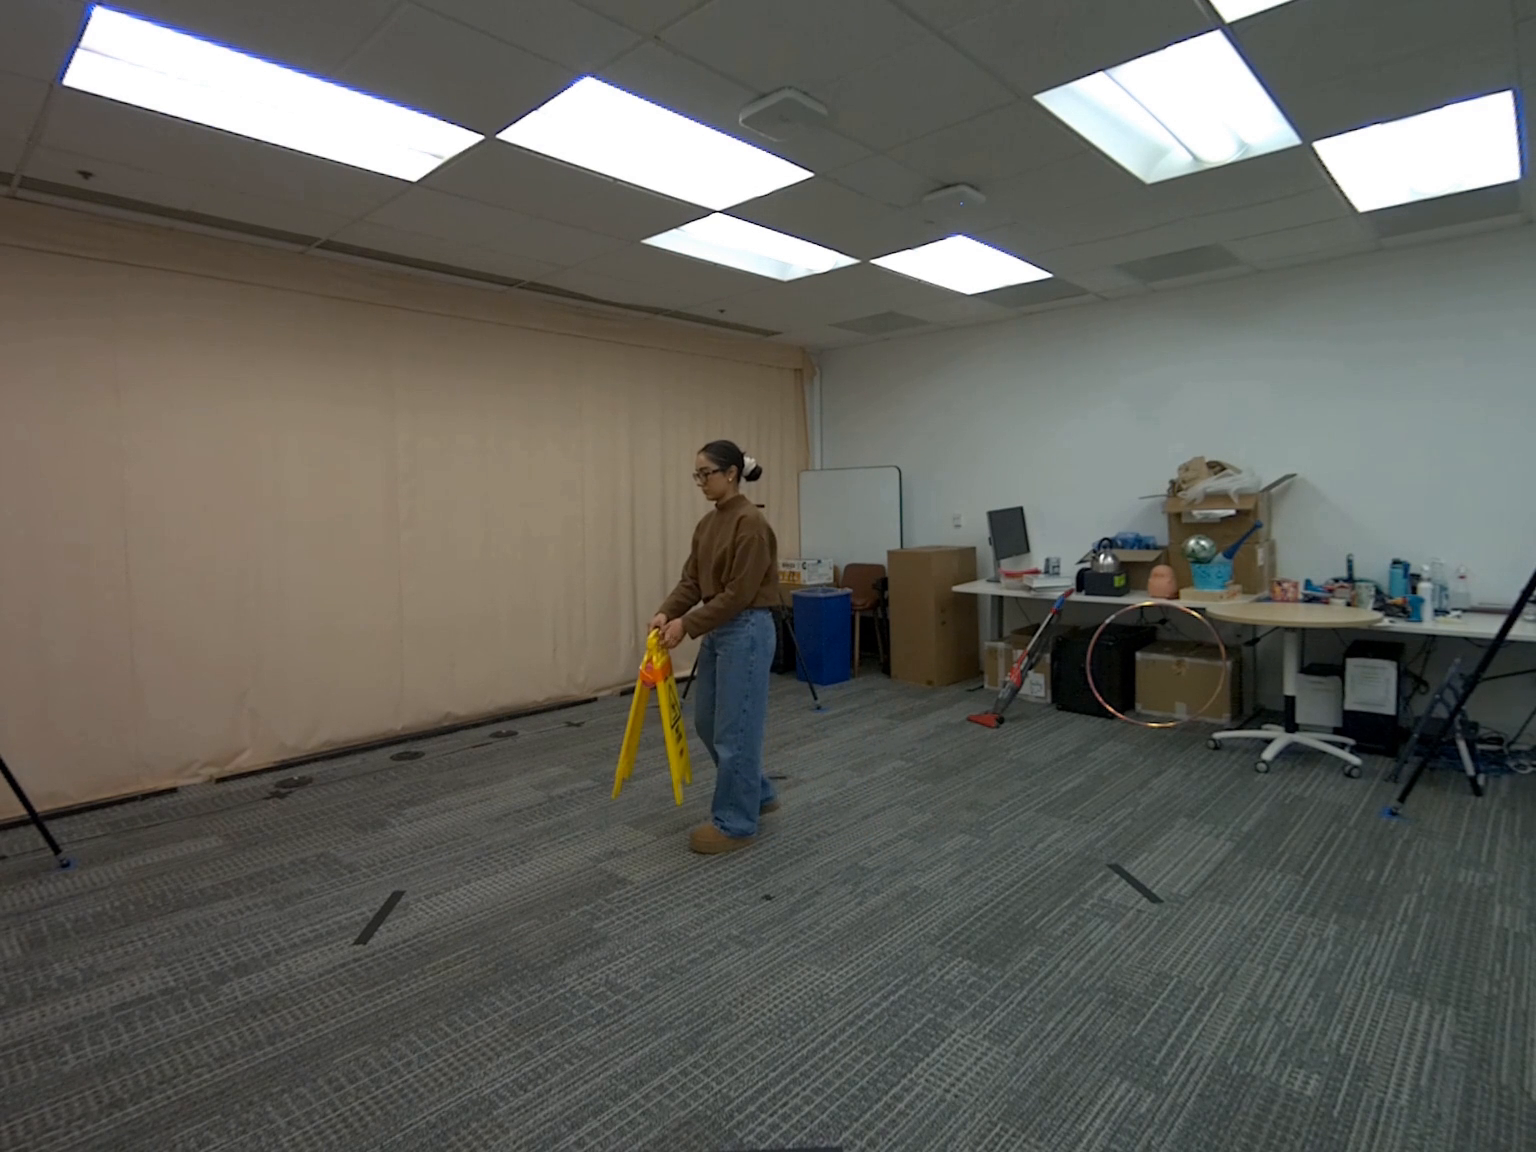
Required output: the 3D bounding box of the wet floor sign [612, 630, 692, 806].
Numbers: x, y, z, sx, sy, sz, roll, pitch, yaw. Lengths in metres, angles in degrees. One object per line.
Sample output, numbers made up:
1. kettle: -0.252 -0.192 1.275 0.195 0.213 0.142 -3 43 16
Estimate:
1. wet floor sign: -0.452 0.541 3.336 0.292 0.644 0.281 3 6 6
